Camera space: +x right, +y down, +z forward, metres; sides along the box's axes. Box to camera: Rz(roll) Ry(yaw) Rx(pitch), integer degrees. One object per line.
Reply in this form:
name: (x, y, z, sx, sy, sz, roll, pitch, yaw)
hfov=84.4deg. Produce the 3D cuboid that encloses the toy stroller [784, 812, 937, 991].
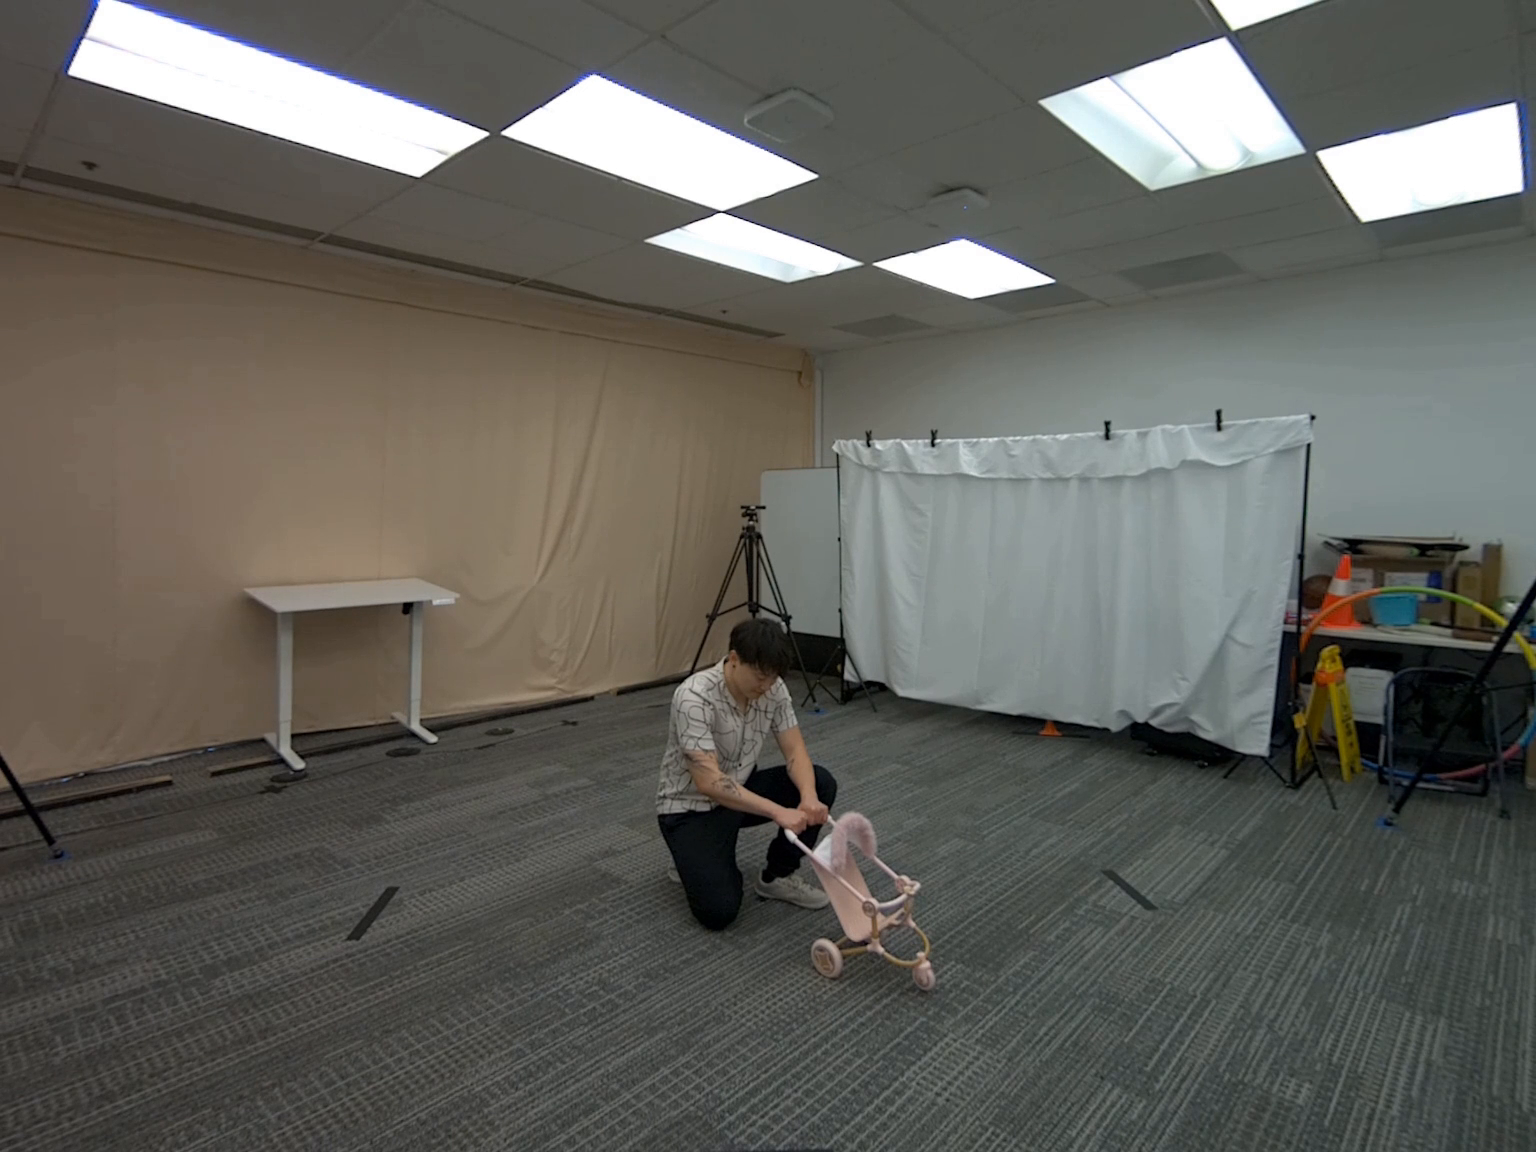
toy stroller: (0.293, 0.957, 2.535, 0.273, 0.540, 0.348, -6, -14, -46)
